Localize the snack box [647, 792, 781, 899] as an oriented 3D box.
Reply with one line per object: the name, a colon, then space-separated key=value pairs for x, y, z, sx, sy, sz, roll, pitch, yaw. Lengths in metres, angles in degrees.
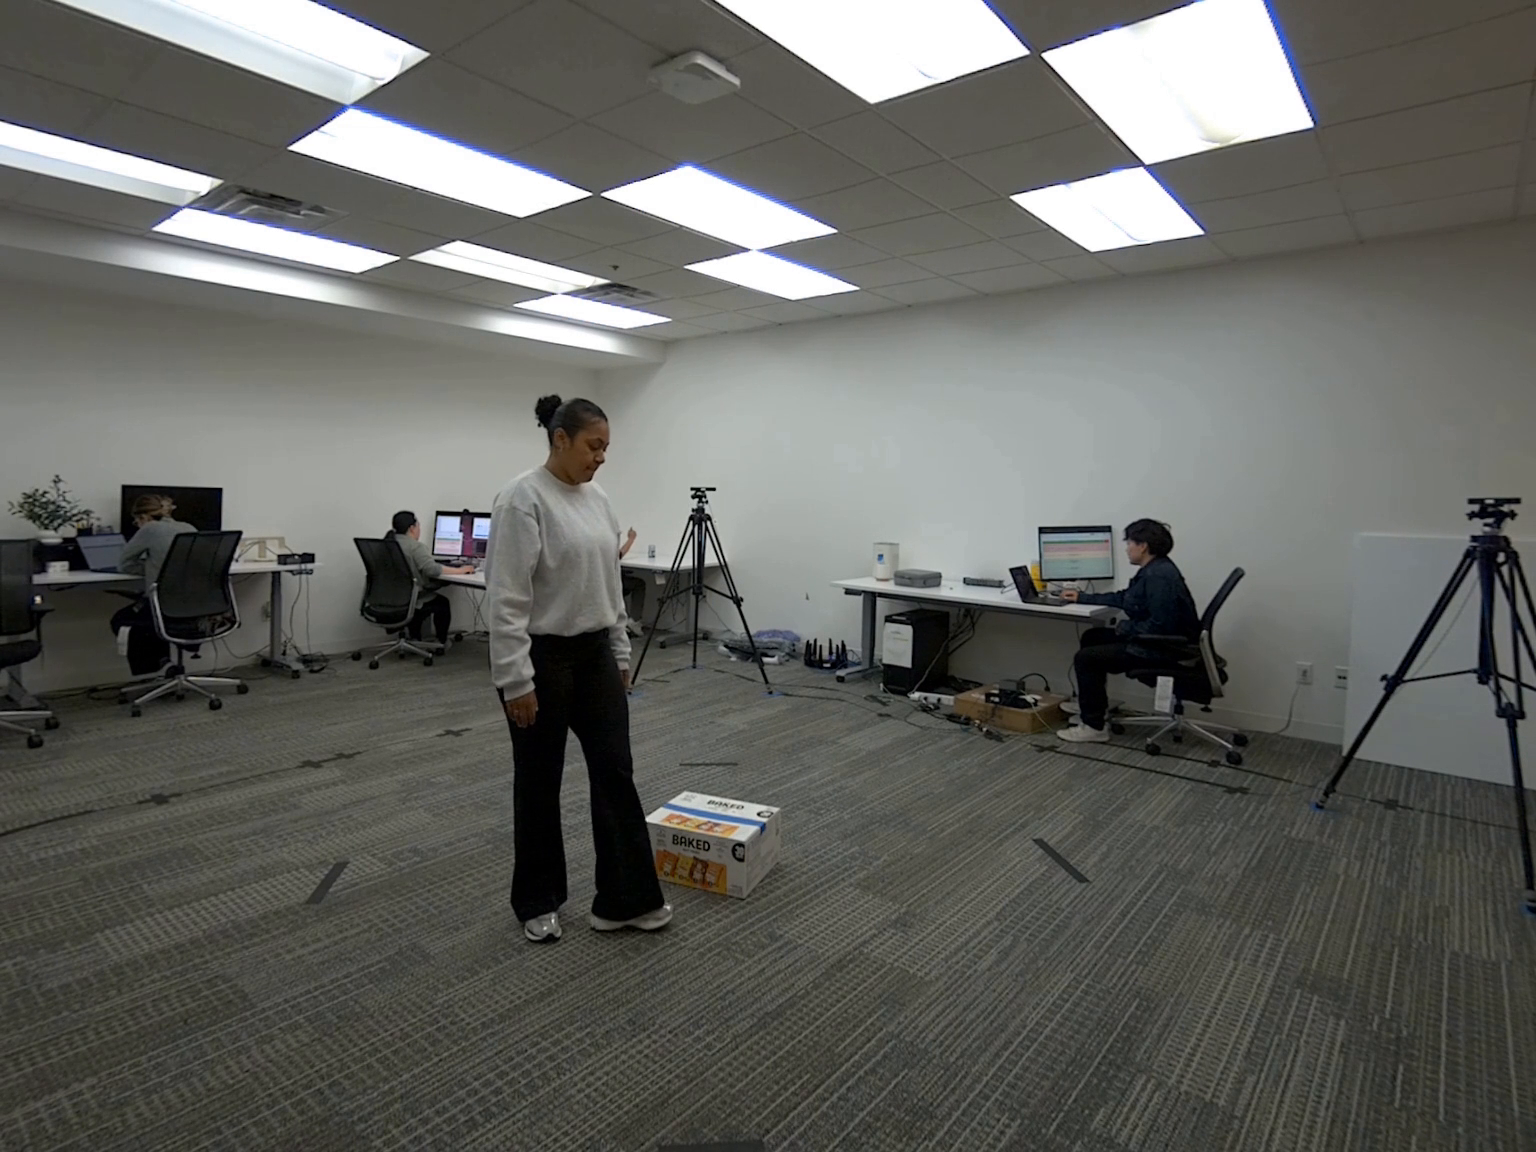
snack box: x=-0.214 y=0.966 z=3.097 sx=0.415 sy=0.205 sz=0.333 roll=3 pitch=5 yaw=23
